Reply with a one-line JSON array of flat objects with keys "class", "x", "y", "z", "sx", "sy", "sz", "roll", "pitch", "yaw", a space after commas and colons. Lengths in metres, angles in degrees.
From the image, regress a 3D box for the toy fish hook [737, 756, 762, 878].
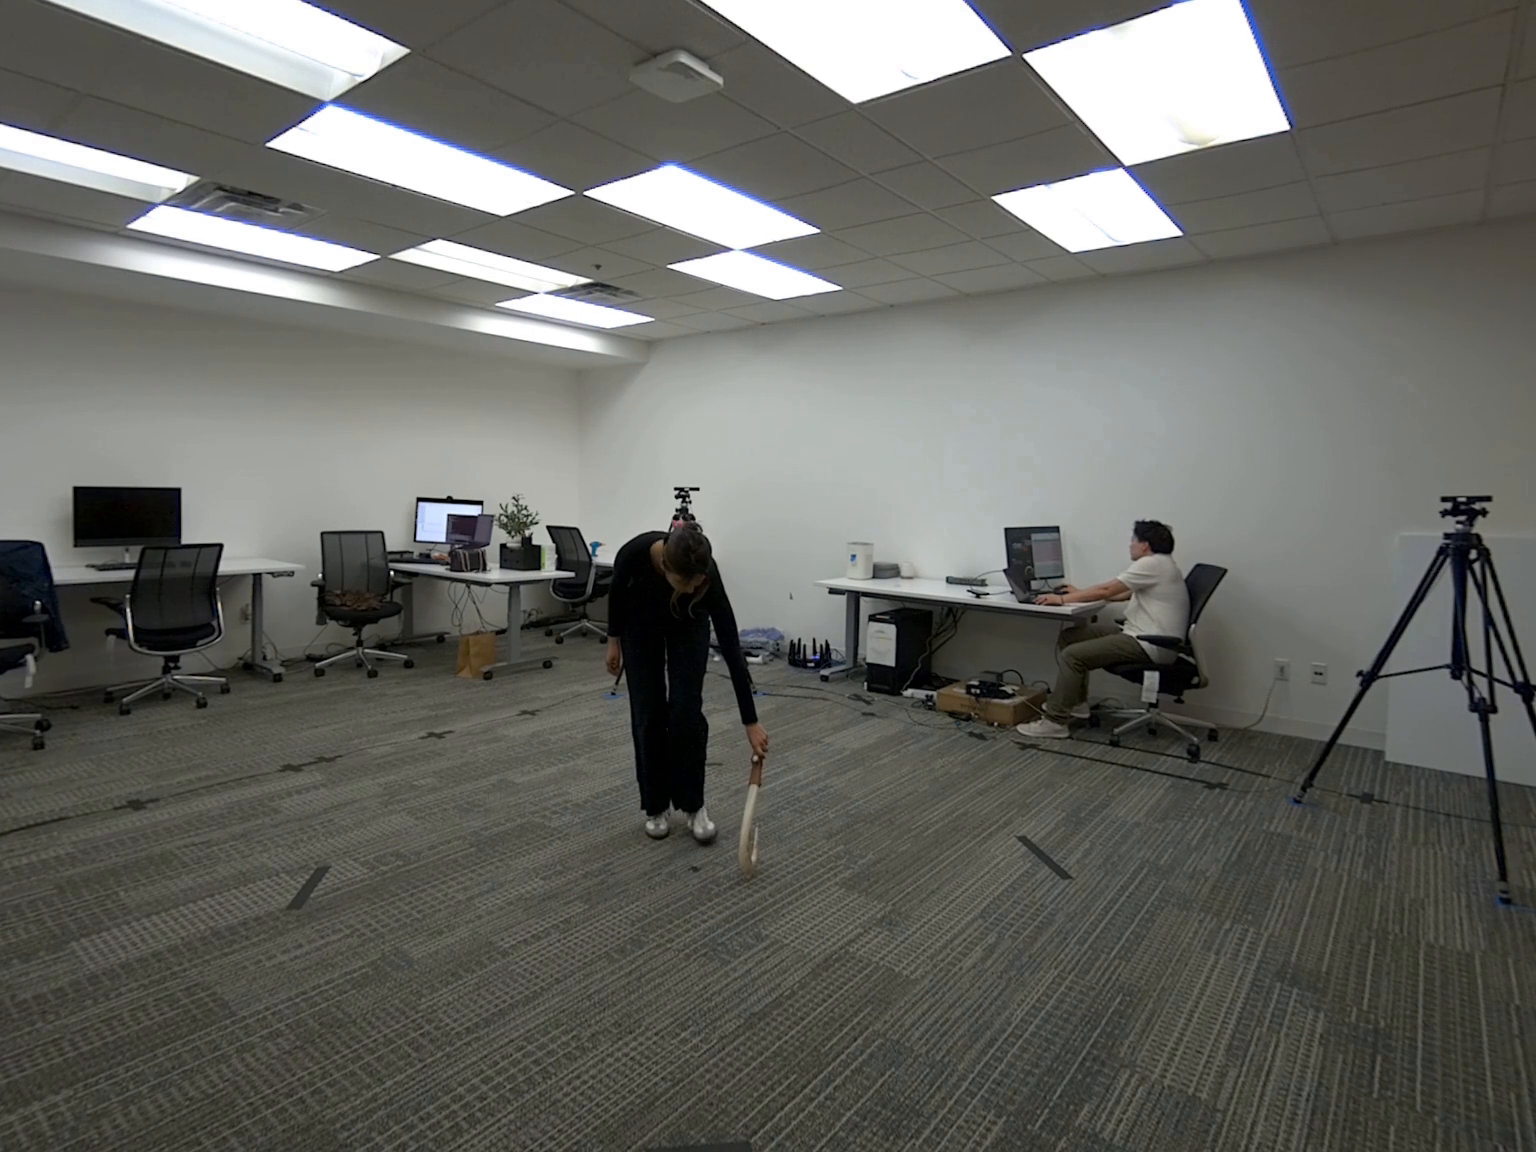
[{"class": "toy fish hook", "x": -0.058, "y": 0.840, "z": 3.151, "sx": 0.049, "sy": 0.517, "sz": 0.217, "roll": 2, "pitch": -34, "yaw": 9}]
